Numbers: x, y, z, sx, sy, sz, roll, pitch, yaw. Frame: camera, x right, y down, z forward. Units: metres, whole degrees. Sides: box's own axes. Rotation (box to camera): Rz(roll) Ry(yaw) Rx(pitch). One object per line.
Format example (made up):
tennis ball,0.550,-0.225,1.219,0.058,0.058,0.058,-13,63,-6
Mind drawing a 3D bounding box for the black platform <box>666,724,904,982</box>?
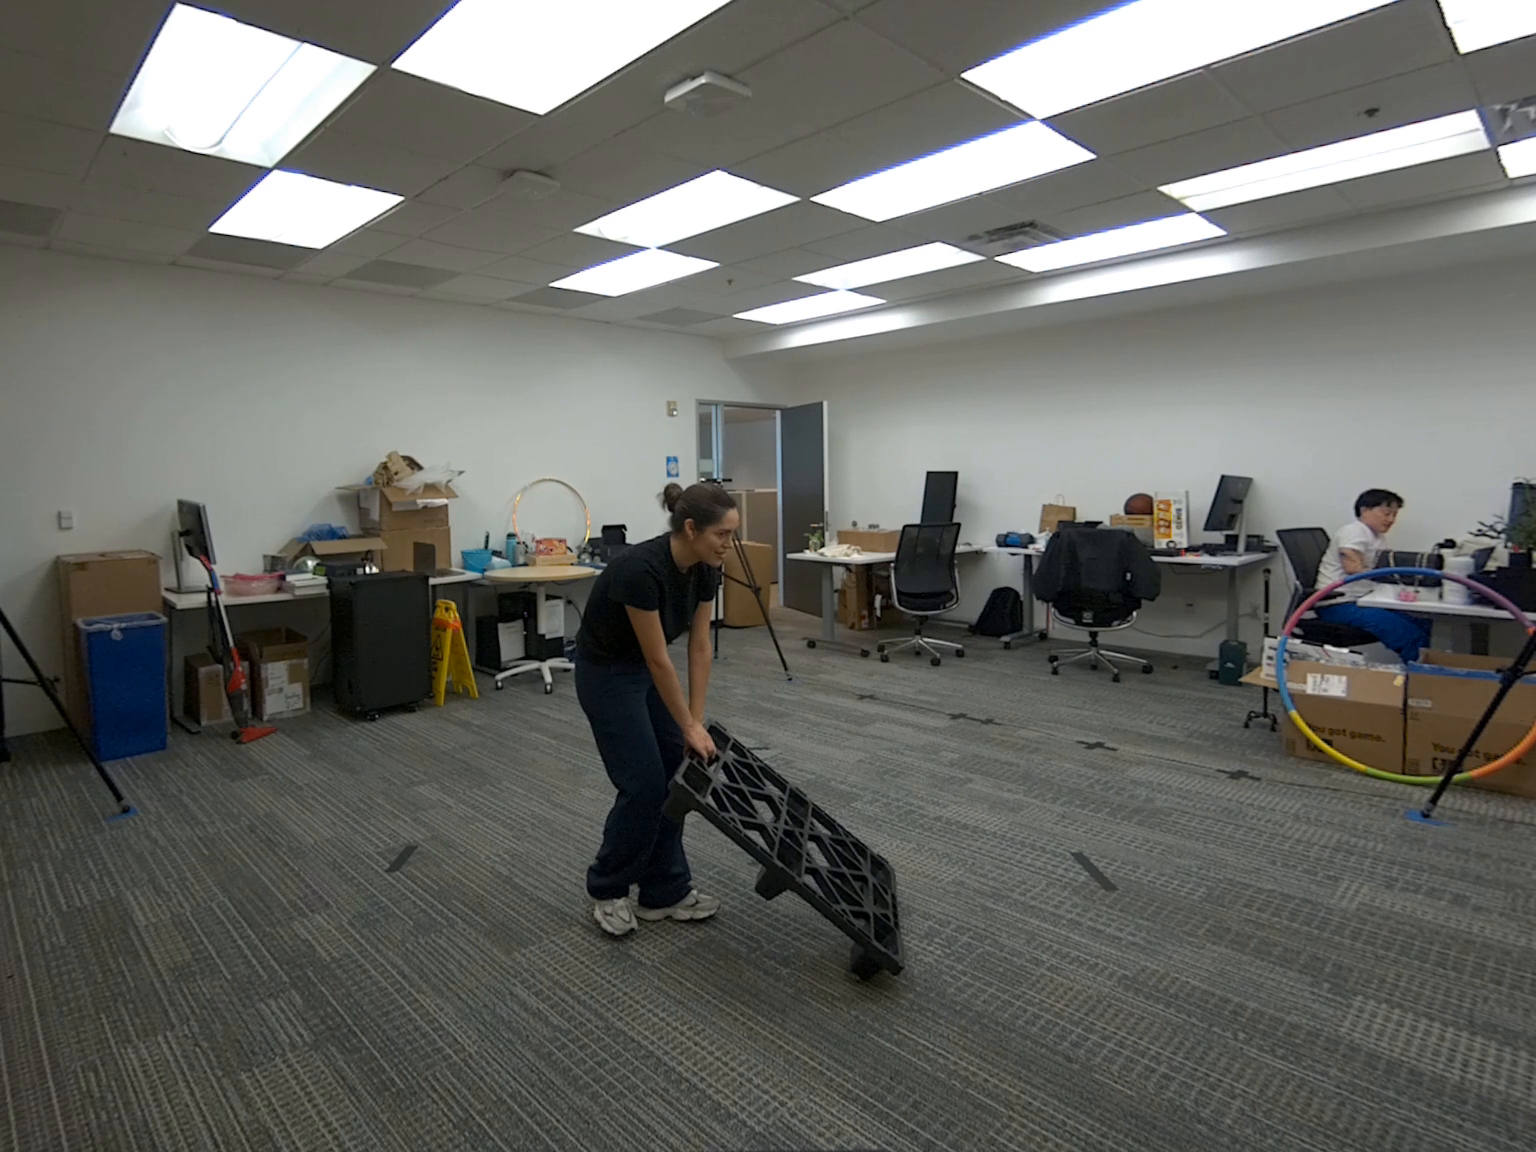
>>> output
black platform,0.041,0.815,2.628,0.809,0.143,0.603,38,8,2
